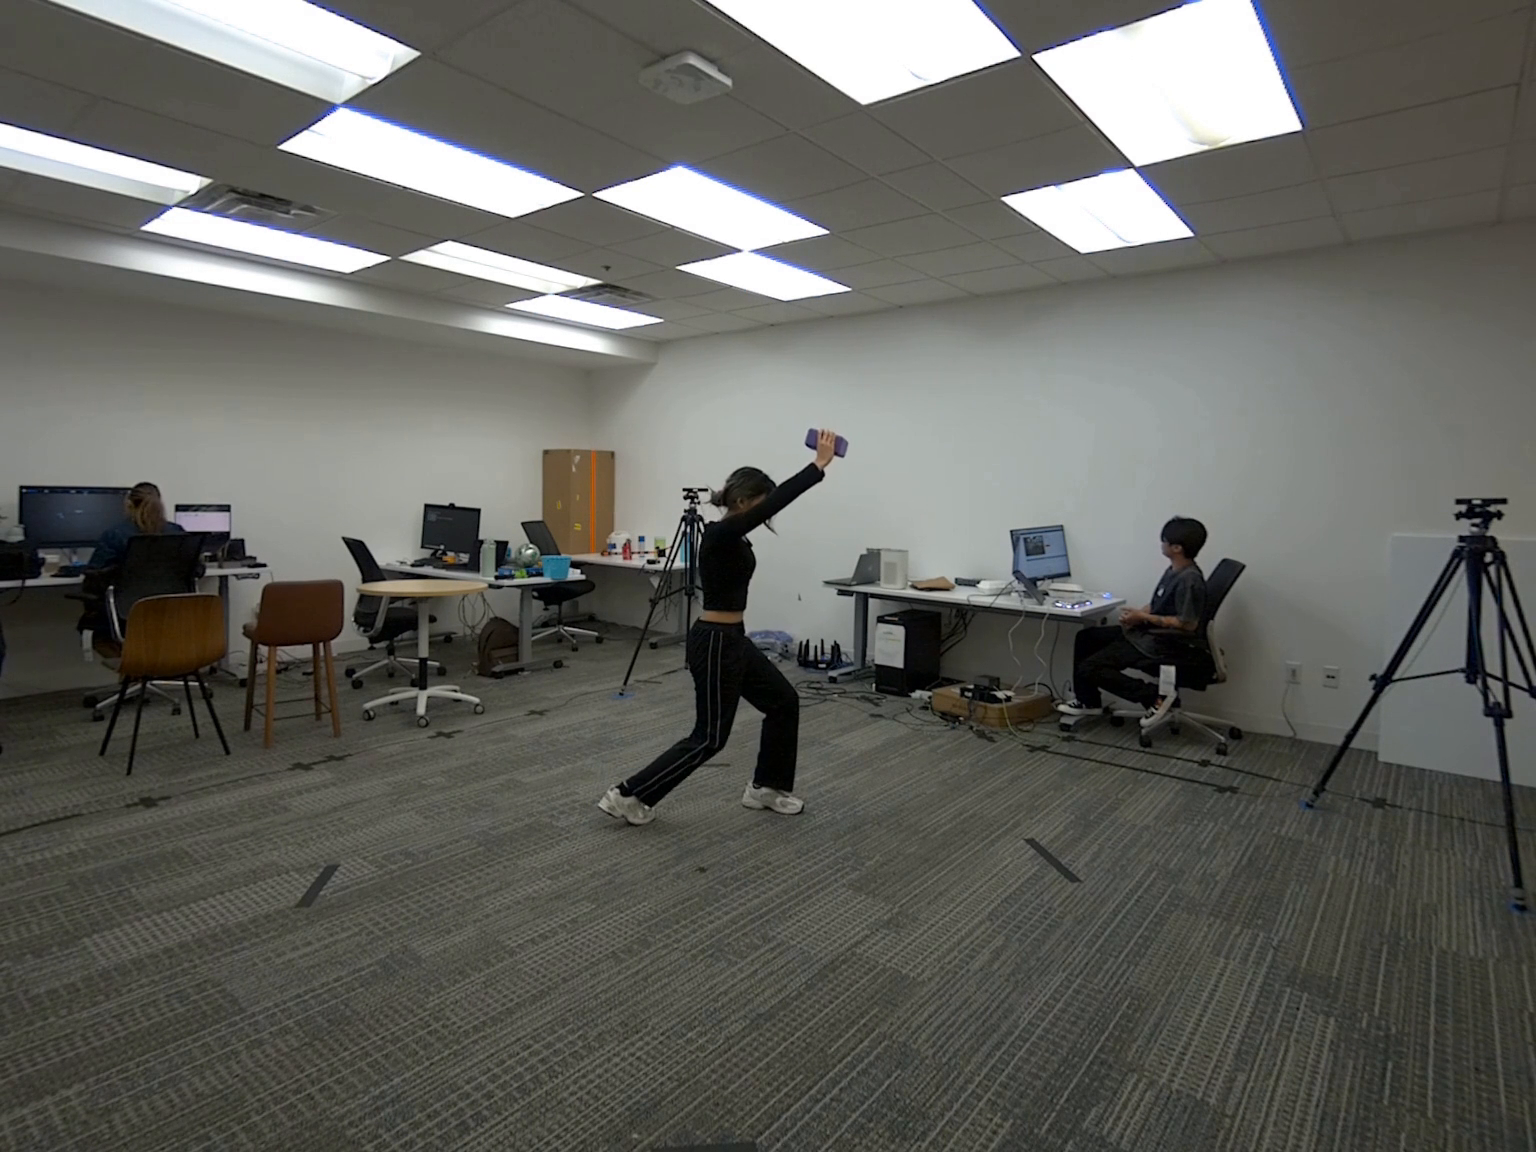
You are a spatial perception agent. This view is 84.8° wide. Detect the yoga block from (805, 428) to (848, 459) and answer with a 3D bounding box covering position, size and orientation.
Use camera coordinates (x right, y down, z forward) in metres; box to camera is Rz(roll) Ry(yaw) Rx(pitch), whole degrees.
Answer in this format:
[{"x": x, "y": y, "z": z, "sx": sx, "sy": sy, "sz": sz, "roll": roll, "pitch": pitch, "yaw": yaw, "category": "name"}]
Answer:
[{"x": 0.233, "y": -0.559, "z": 3.551, "sx": 0.151, "sy": 0.076, "sz": 0.227, "roll": 15, "pitch": 5, "yaw": 10, "category": "yoga block"}]
